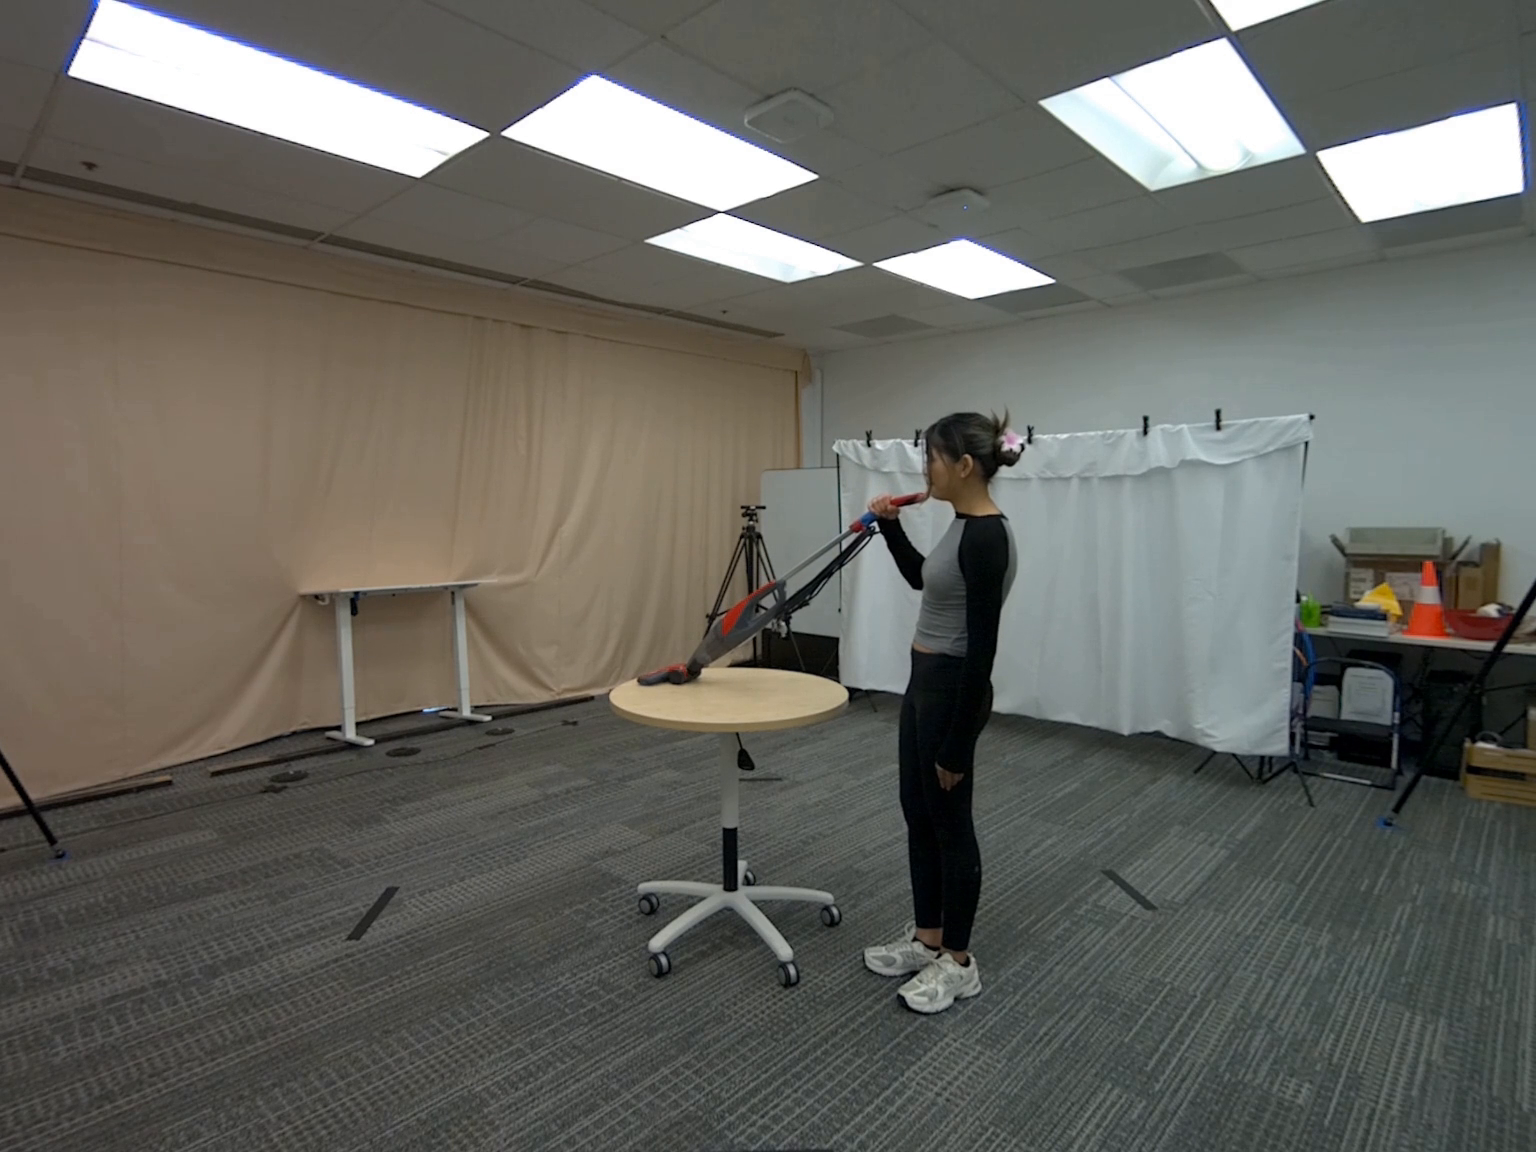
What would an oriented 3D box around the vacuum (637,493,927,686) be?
[{"bbox_3d":[0.046,0.065,2.667,1.061,0.146,0.245,-35,-17,26],"label":"vacuum"}]
